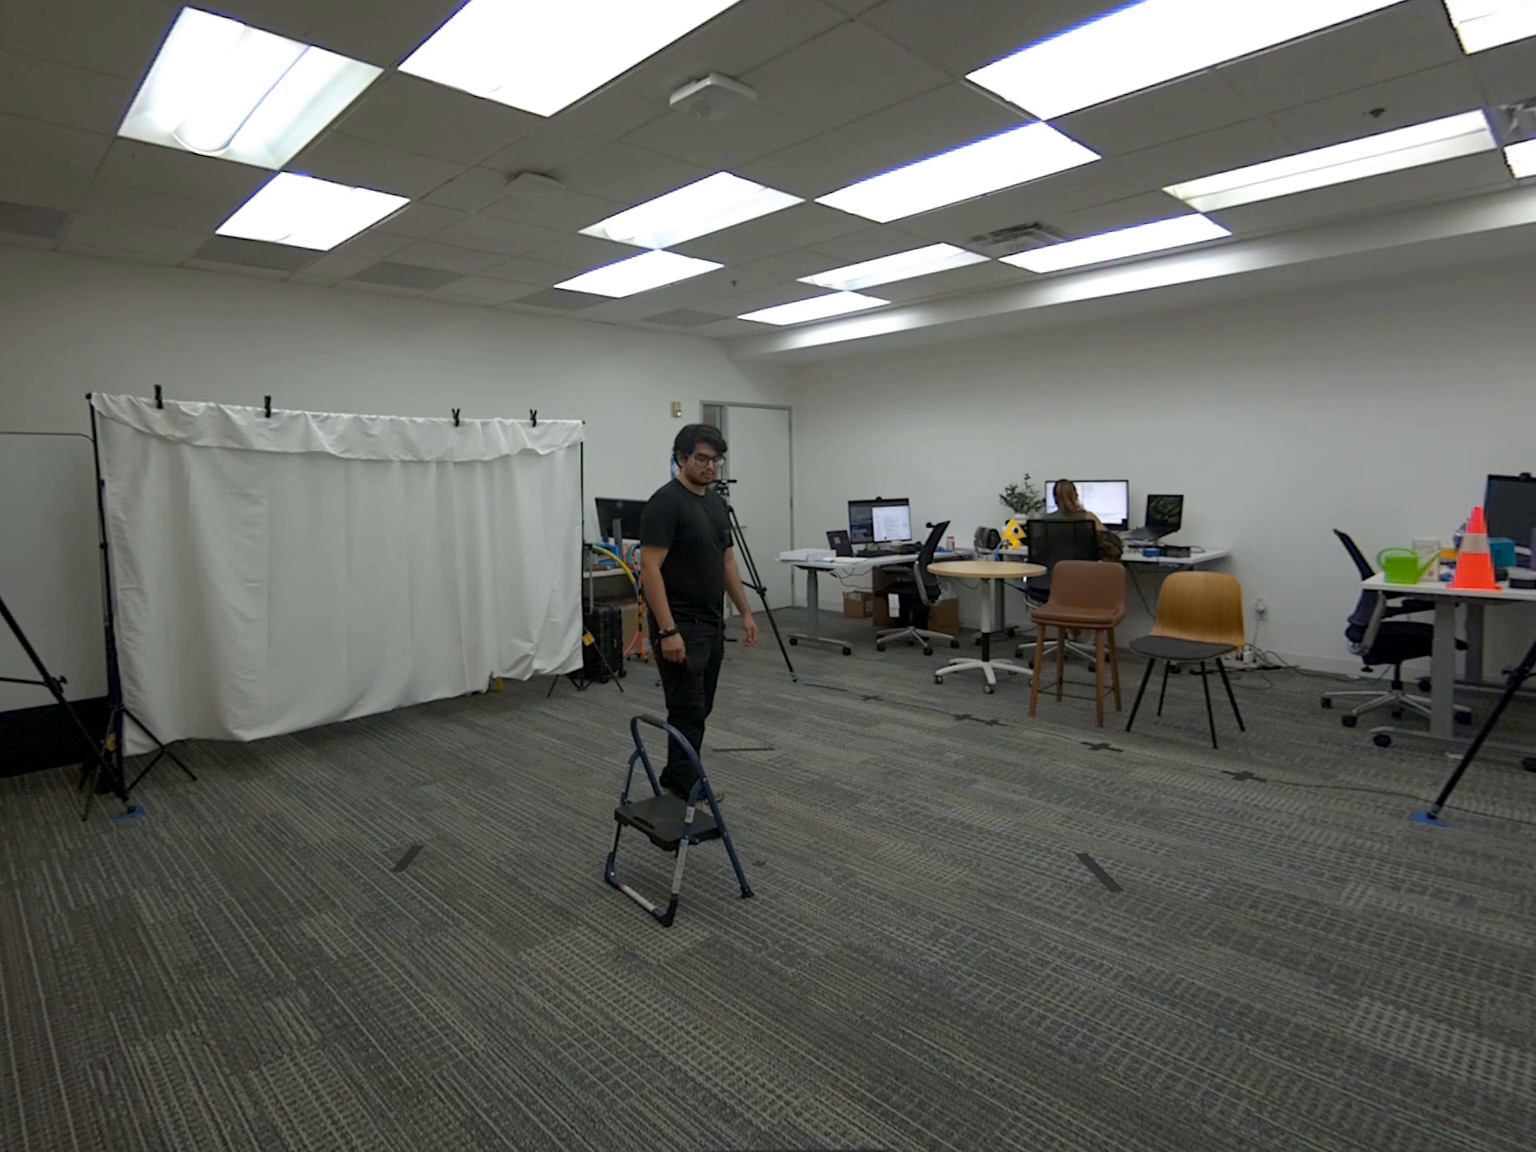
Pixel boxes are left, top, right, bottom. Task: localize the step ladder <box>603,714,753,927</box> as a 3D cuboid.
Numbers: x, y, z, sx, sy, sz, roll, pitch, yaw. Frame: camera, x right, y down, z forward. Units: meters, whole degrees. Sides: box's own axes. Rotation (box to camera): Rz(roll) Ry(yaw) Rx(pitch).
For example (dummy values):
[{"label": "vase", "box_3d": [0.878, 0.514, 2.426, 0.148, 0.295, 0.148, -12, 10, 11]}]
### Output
[{"label": "step ladder", "box_3d": [-0.321, 0.773, 2.917, 0.340, 0.603, 0.444, -4, 6, -38]}]
